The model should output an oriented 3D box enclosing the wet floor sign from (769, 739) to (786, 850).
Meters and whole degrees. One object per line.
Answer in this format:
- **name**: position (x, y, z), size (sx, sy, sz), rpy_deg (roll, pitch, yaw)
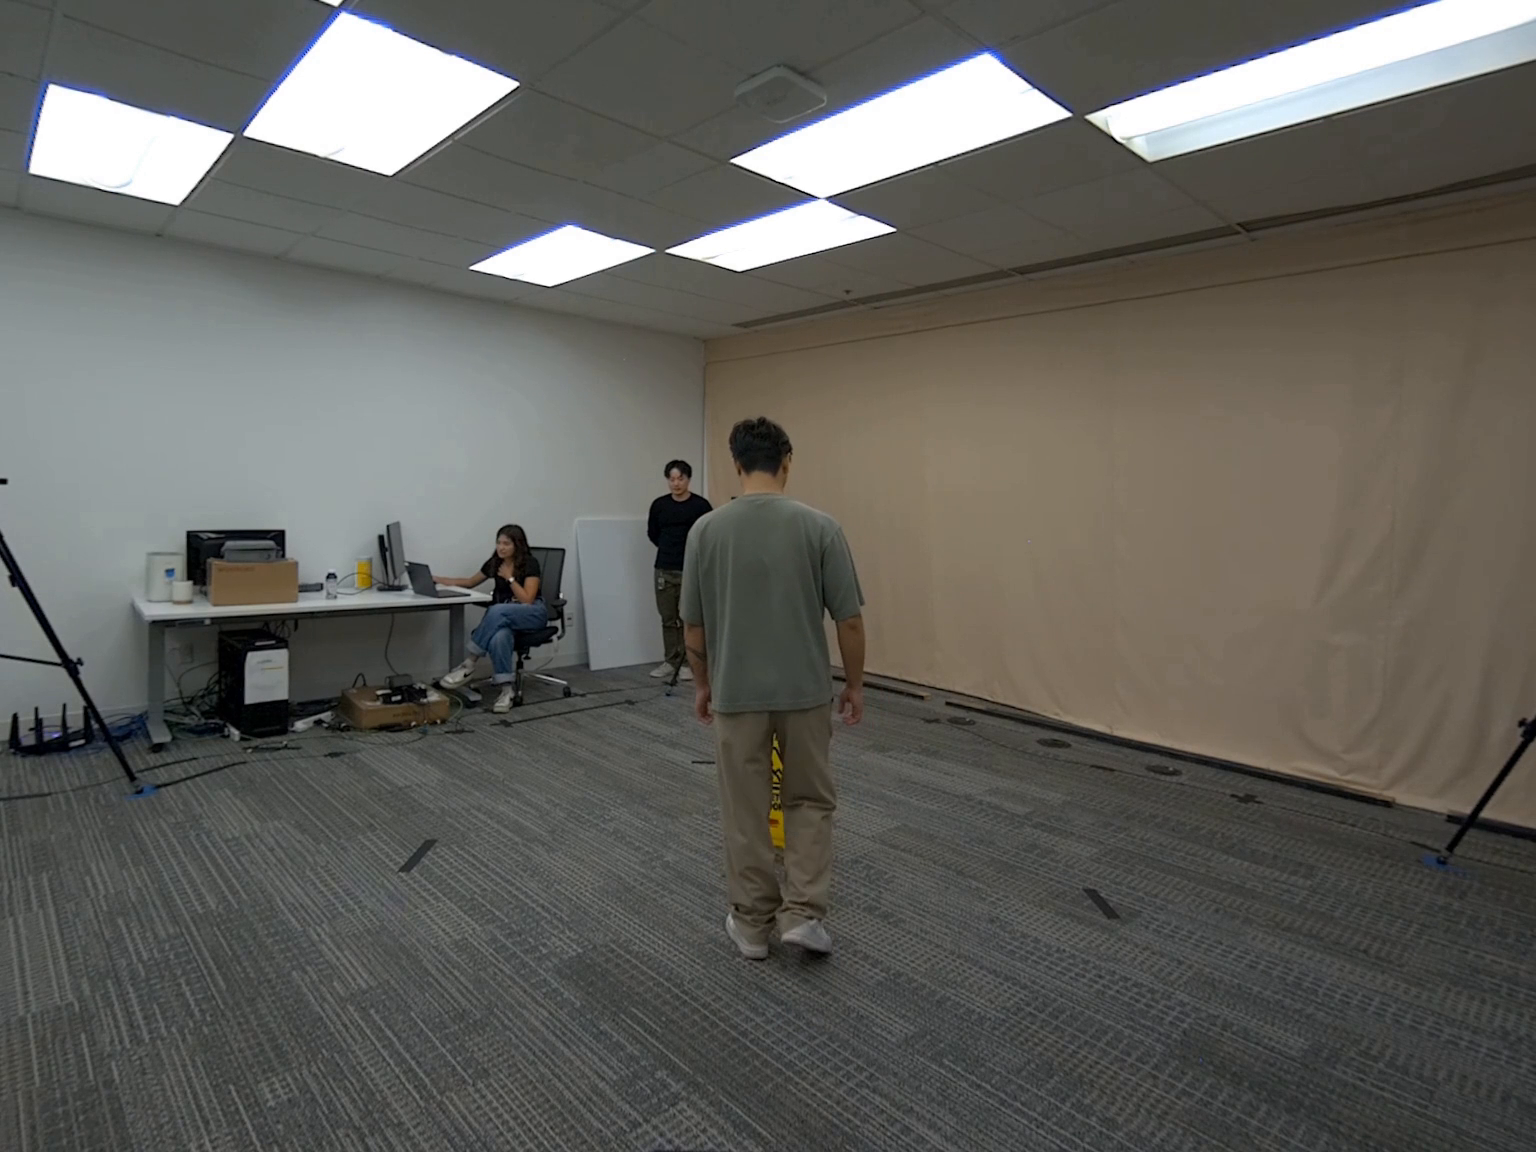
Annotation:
- **wet floor sign**: position (0.013, 0.773, 3.308), size (0.284, 0.645, 0.288), rpy_deg (2, 2, 9)
